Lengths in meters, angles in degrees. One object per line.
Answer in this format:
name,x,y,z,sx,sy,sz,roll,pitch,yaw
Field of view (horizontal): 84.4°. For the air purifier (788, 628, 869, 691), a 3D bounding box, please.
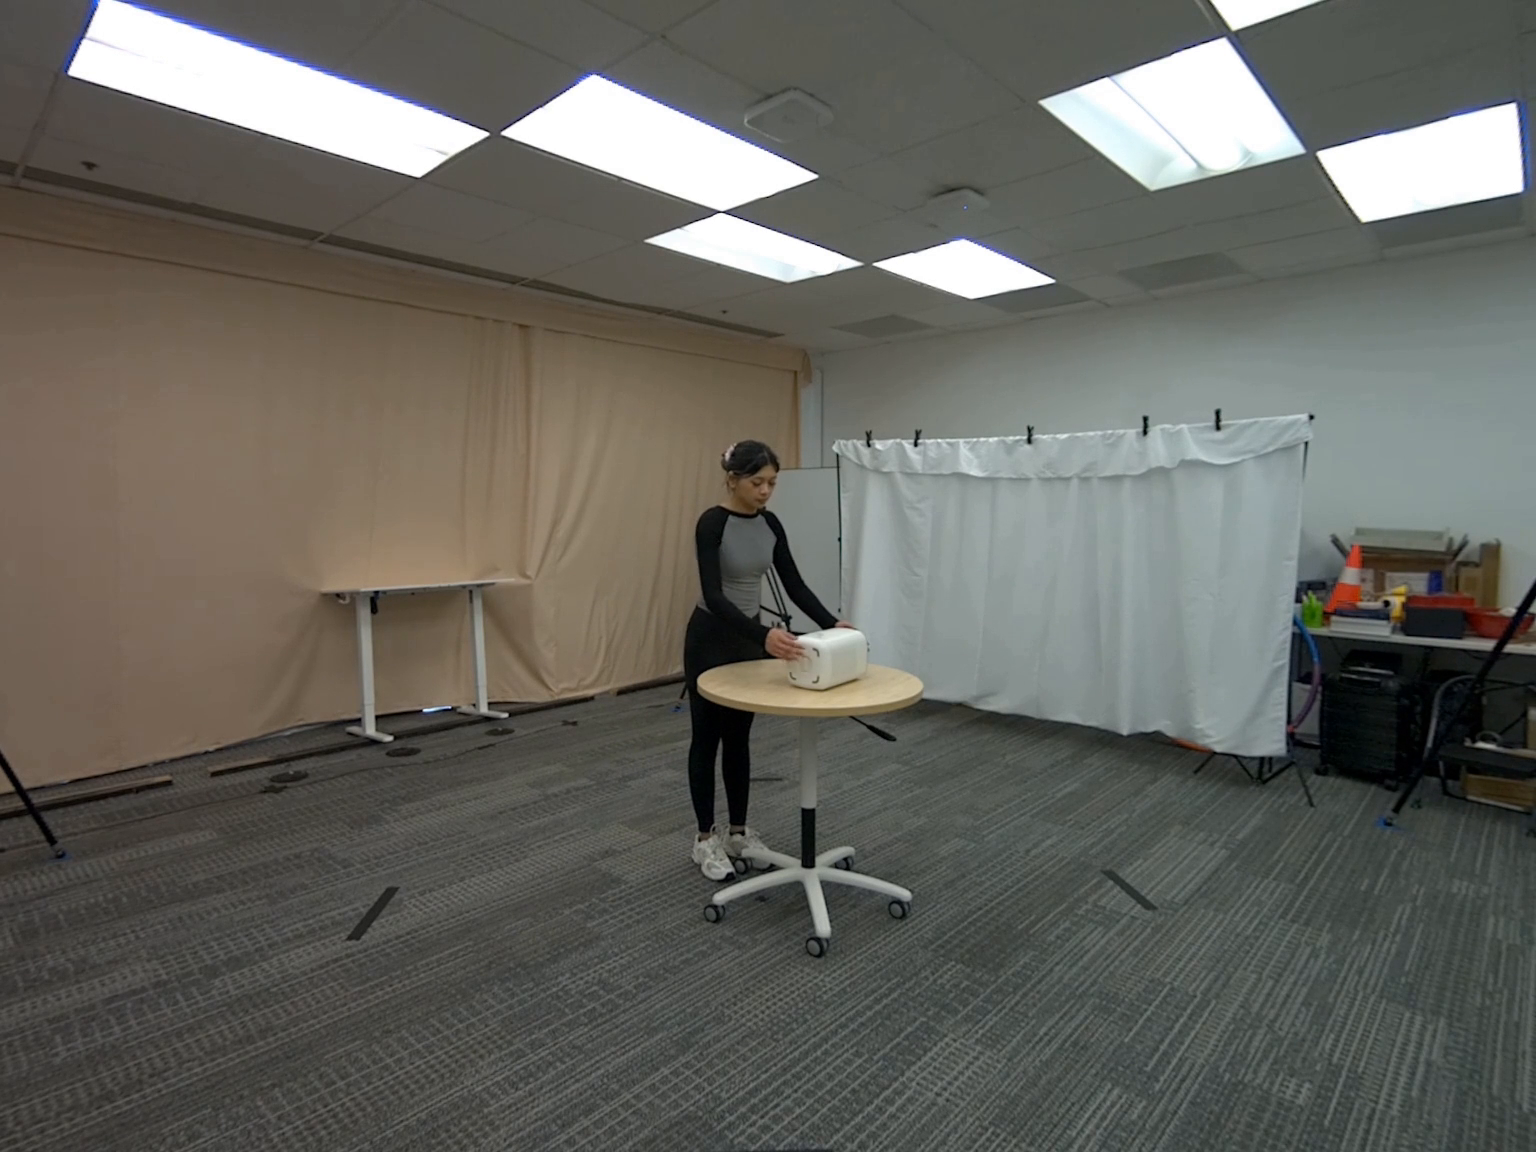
air purifier,0.200,0.275,2.835,0.177,0.171,0.257,4,6,38
